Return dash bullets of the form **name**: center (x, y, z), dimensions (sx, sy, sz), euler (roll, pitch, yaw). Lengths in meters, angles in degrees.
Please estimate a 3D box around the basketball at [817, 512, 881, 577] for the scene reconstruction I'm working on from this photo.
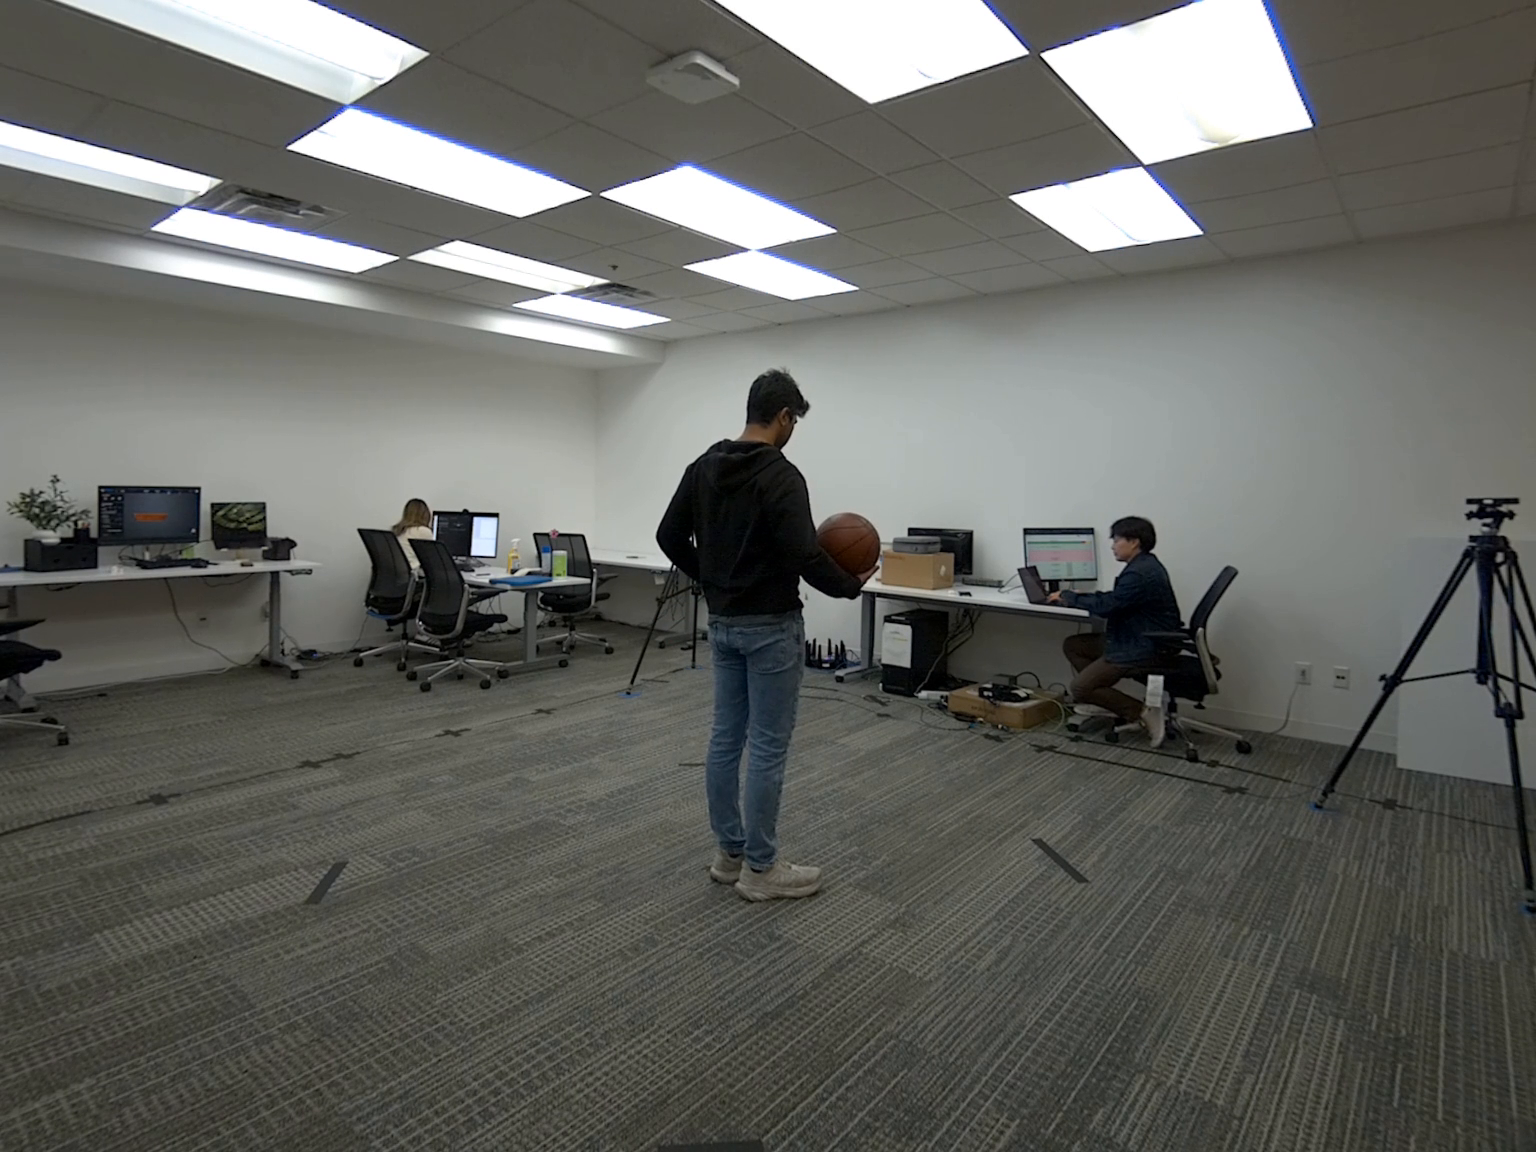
- **basketball**: center (0.246, -0.109, 2.995), dimensions (0.235, 0.235, 0.237), euler (1, 4, -2)
